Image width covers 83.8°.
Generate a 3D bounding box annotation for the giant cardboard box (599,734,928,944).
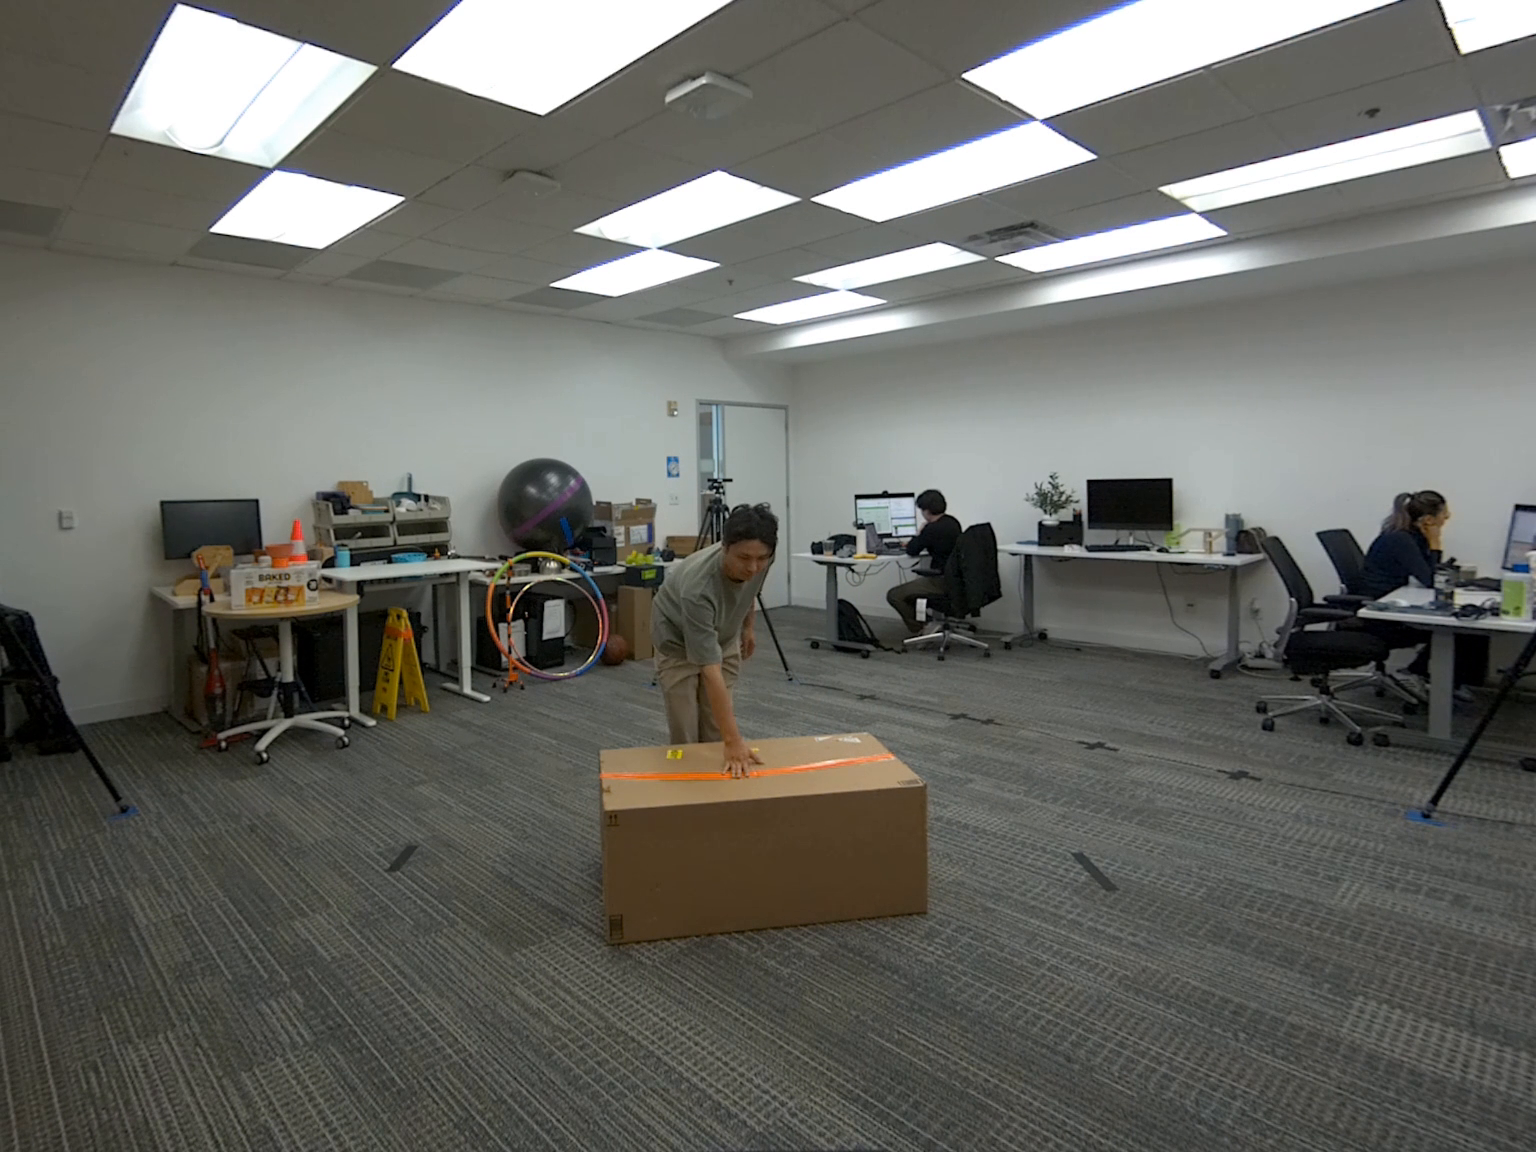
[{"bbox_3d":[-0.050,0.854,2.912,1.017,0.424,0.585,-2,5,-10],"label":"giant cardboard box"}]
